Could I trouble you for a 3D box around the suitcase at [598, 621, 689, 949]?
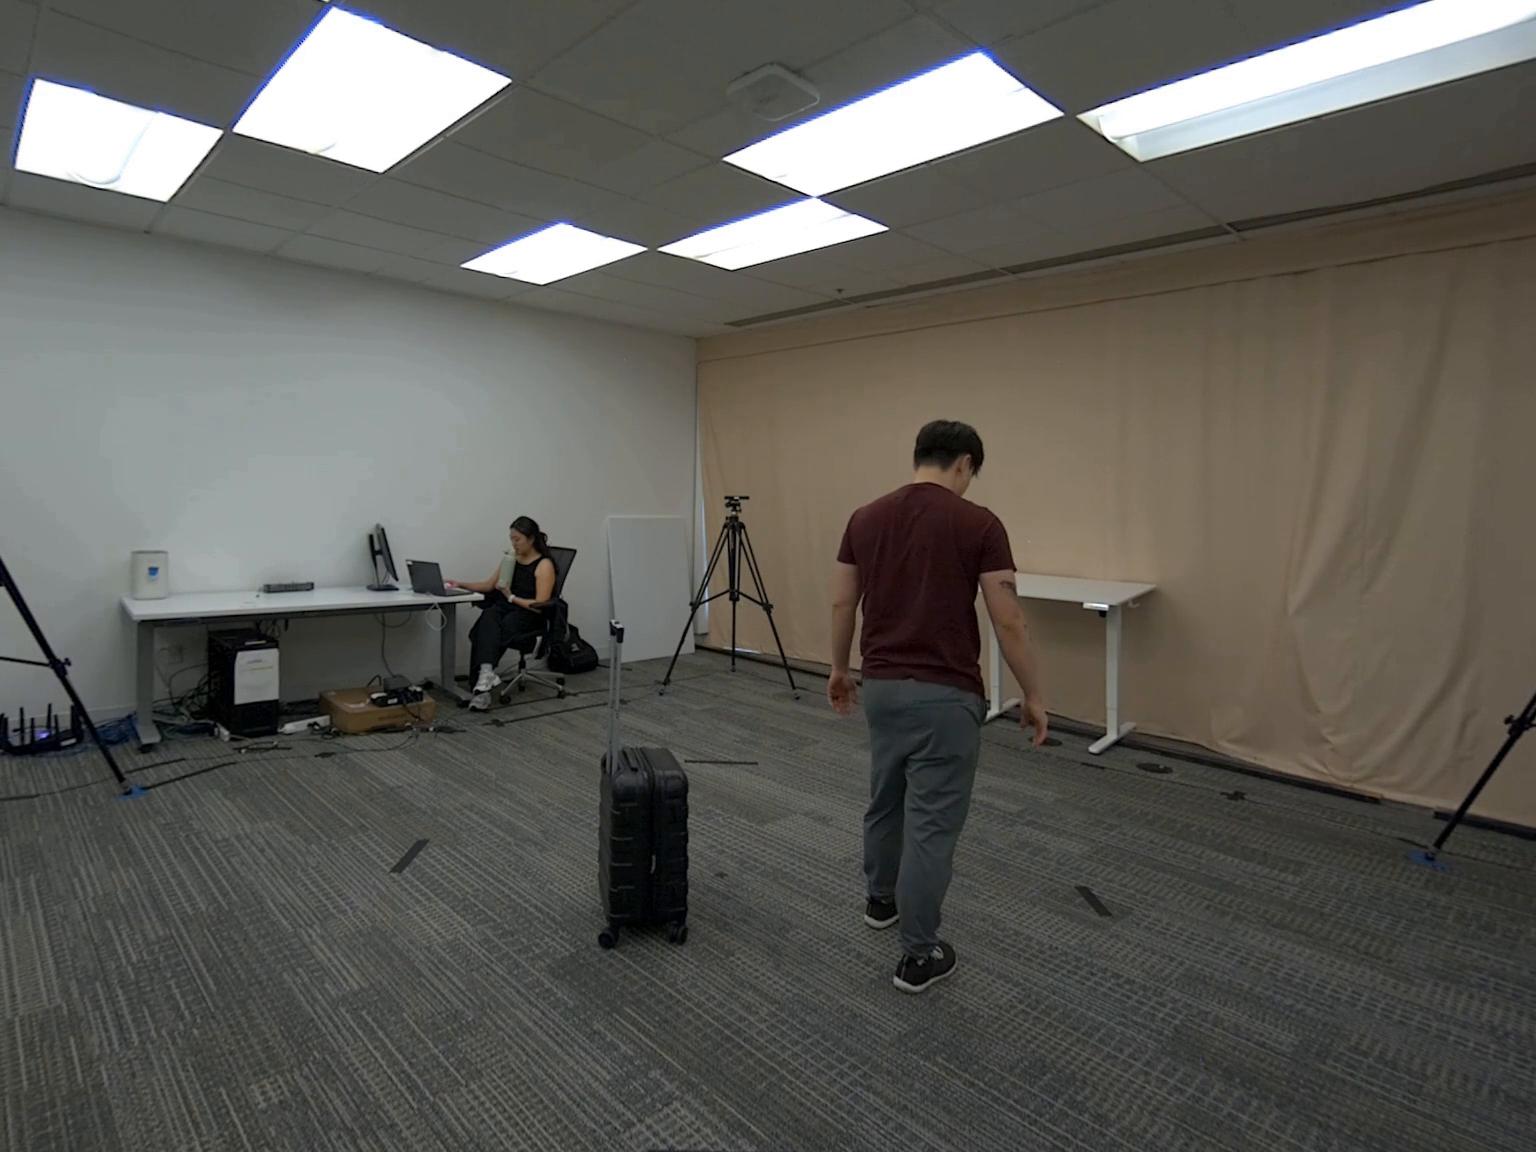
[{"bbox_3d":[-0.413,0.658,2.741,0.254,0.976,0.389,2,4,-12],"label":"suitcase"}]
